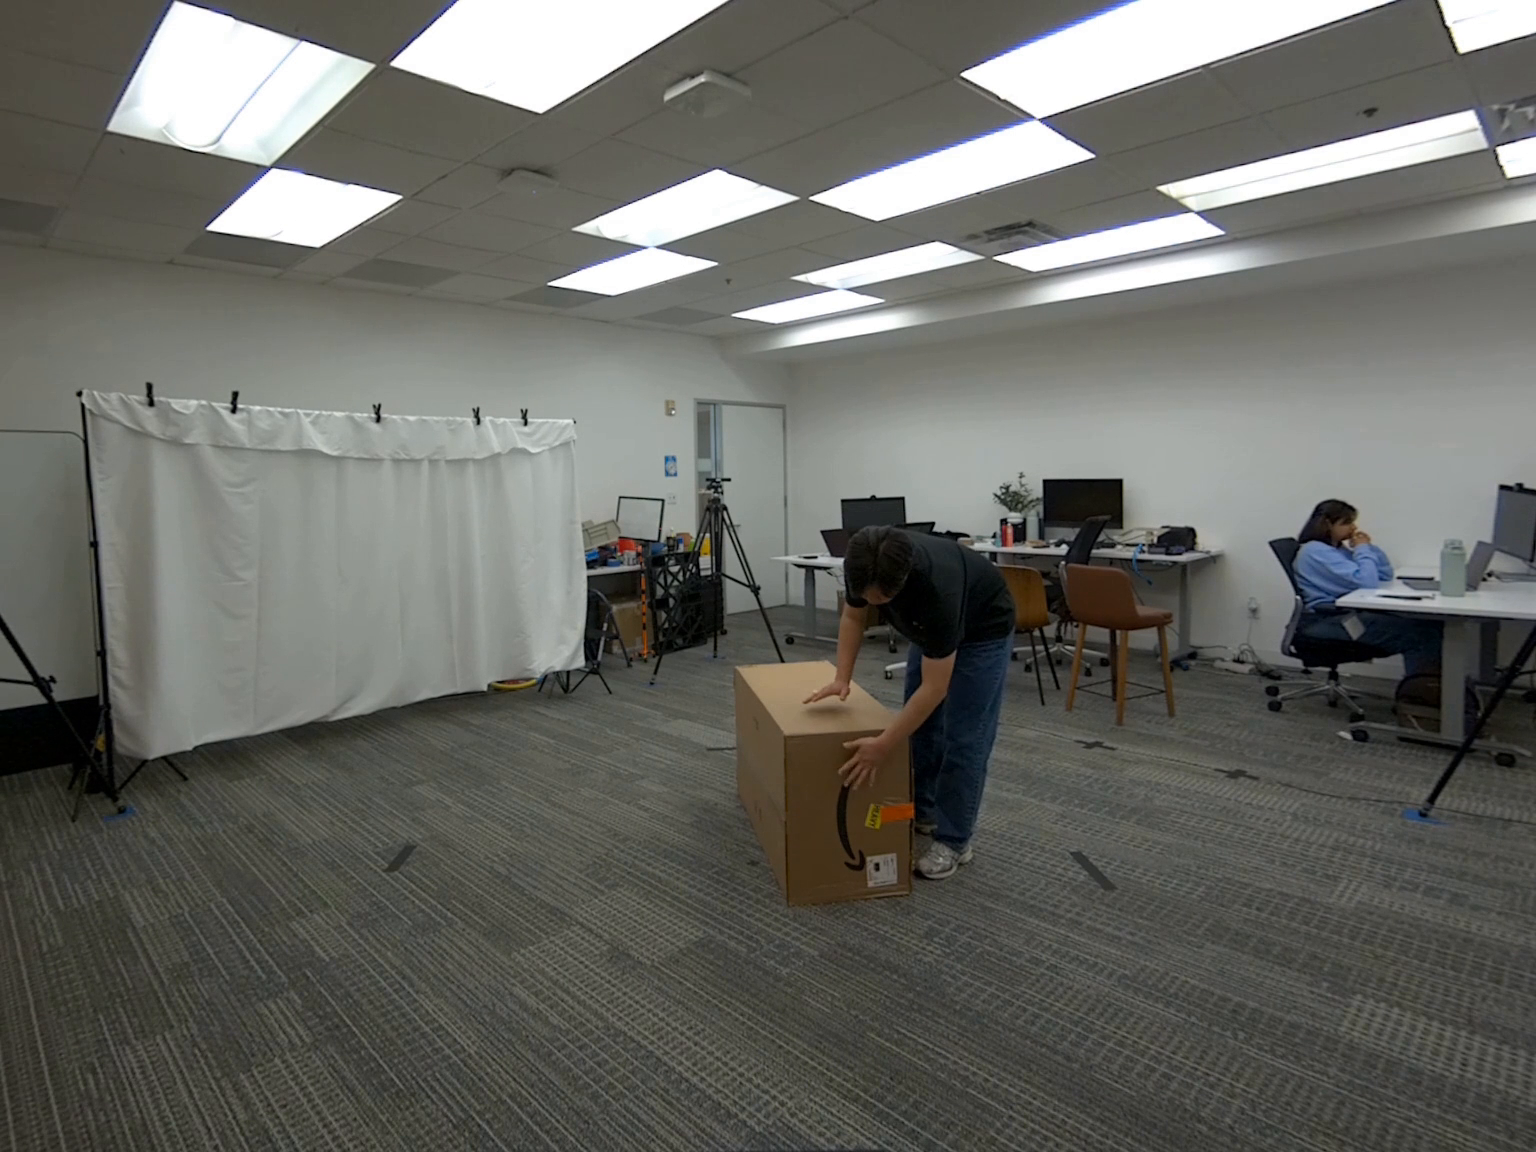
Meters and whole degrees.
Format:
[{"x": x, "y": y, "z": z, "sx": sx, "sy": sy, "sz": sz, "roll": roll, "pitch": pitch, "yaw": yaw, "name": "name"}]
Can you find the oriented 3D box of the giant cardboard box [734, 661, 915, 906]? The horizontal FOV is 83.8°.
[{"x": 0.171, "y": 0.727, "z": 3.297, "sx": 0.442, "sy": 0.581, "sz": 1.042, "roll": -1, "pitch": 6, "yaw": -12, "name": "giant cardboard box"}]
